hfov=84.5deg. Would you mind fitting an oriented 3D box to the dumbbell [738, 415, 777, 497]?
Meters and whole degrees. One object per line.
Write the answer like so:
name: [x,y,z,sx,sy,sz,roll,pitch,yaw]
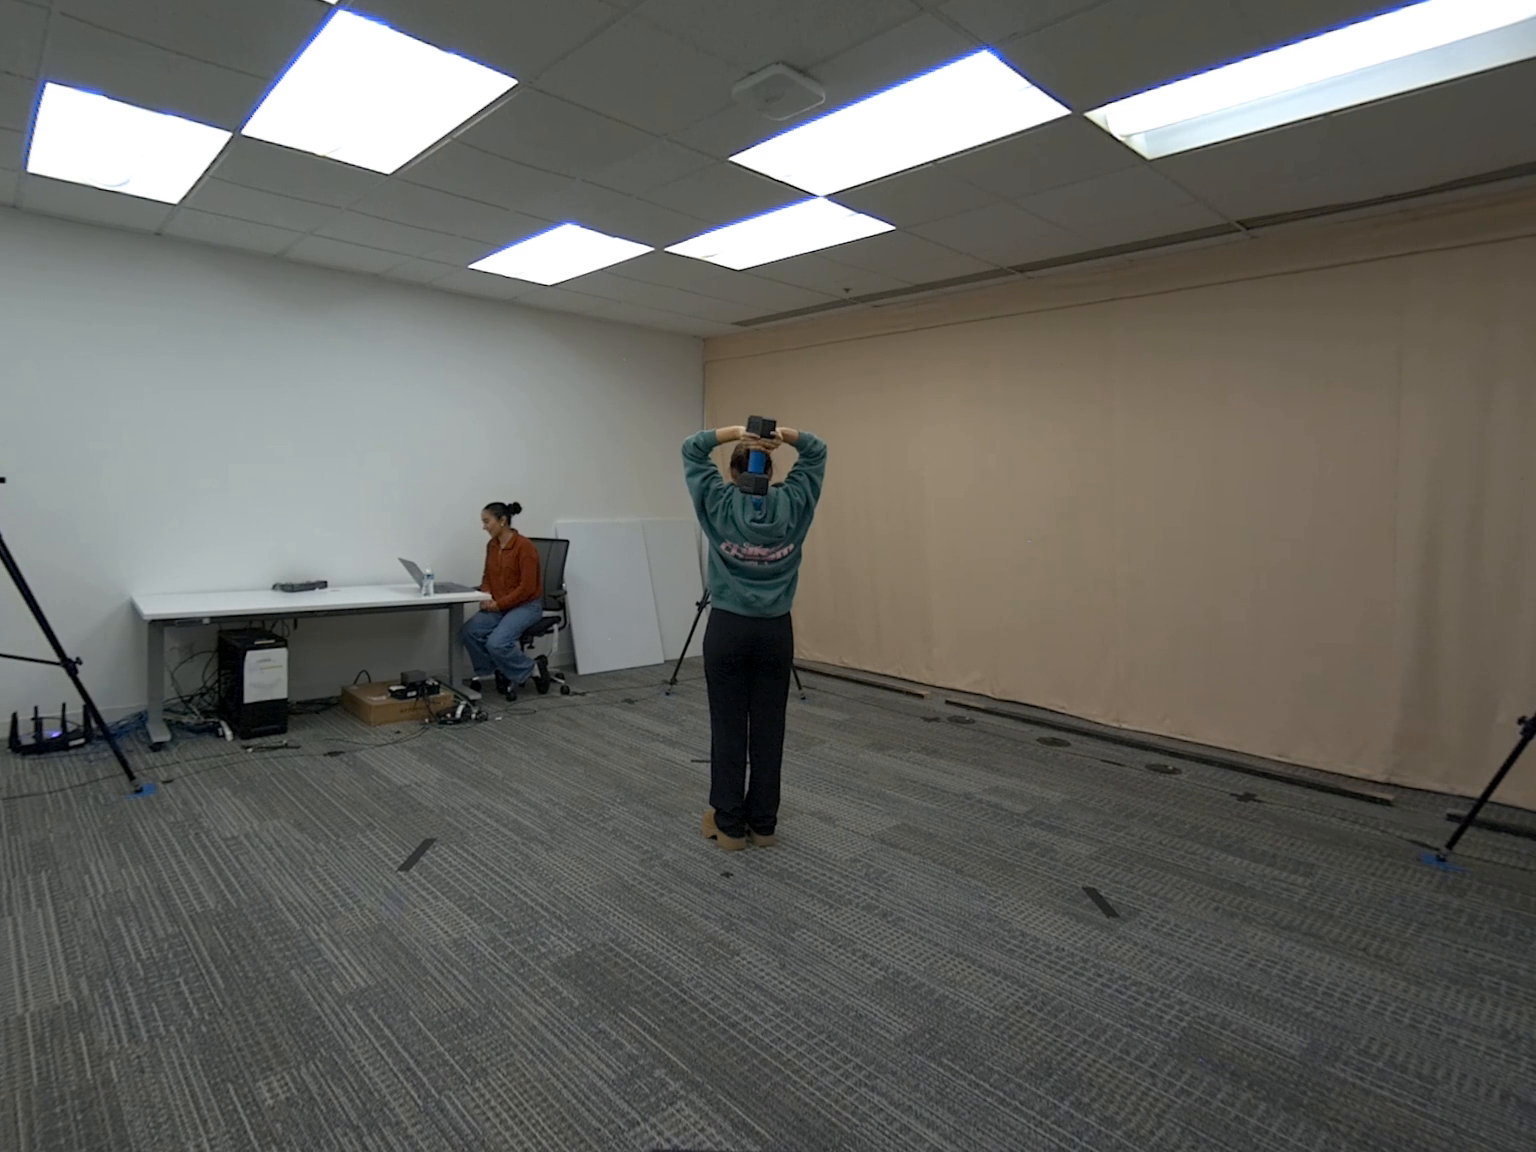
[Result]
dumbbell: [-0.050,-0.452,3.145,0.109,0.292,0.123,6,5,1]
